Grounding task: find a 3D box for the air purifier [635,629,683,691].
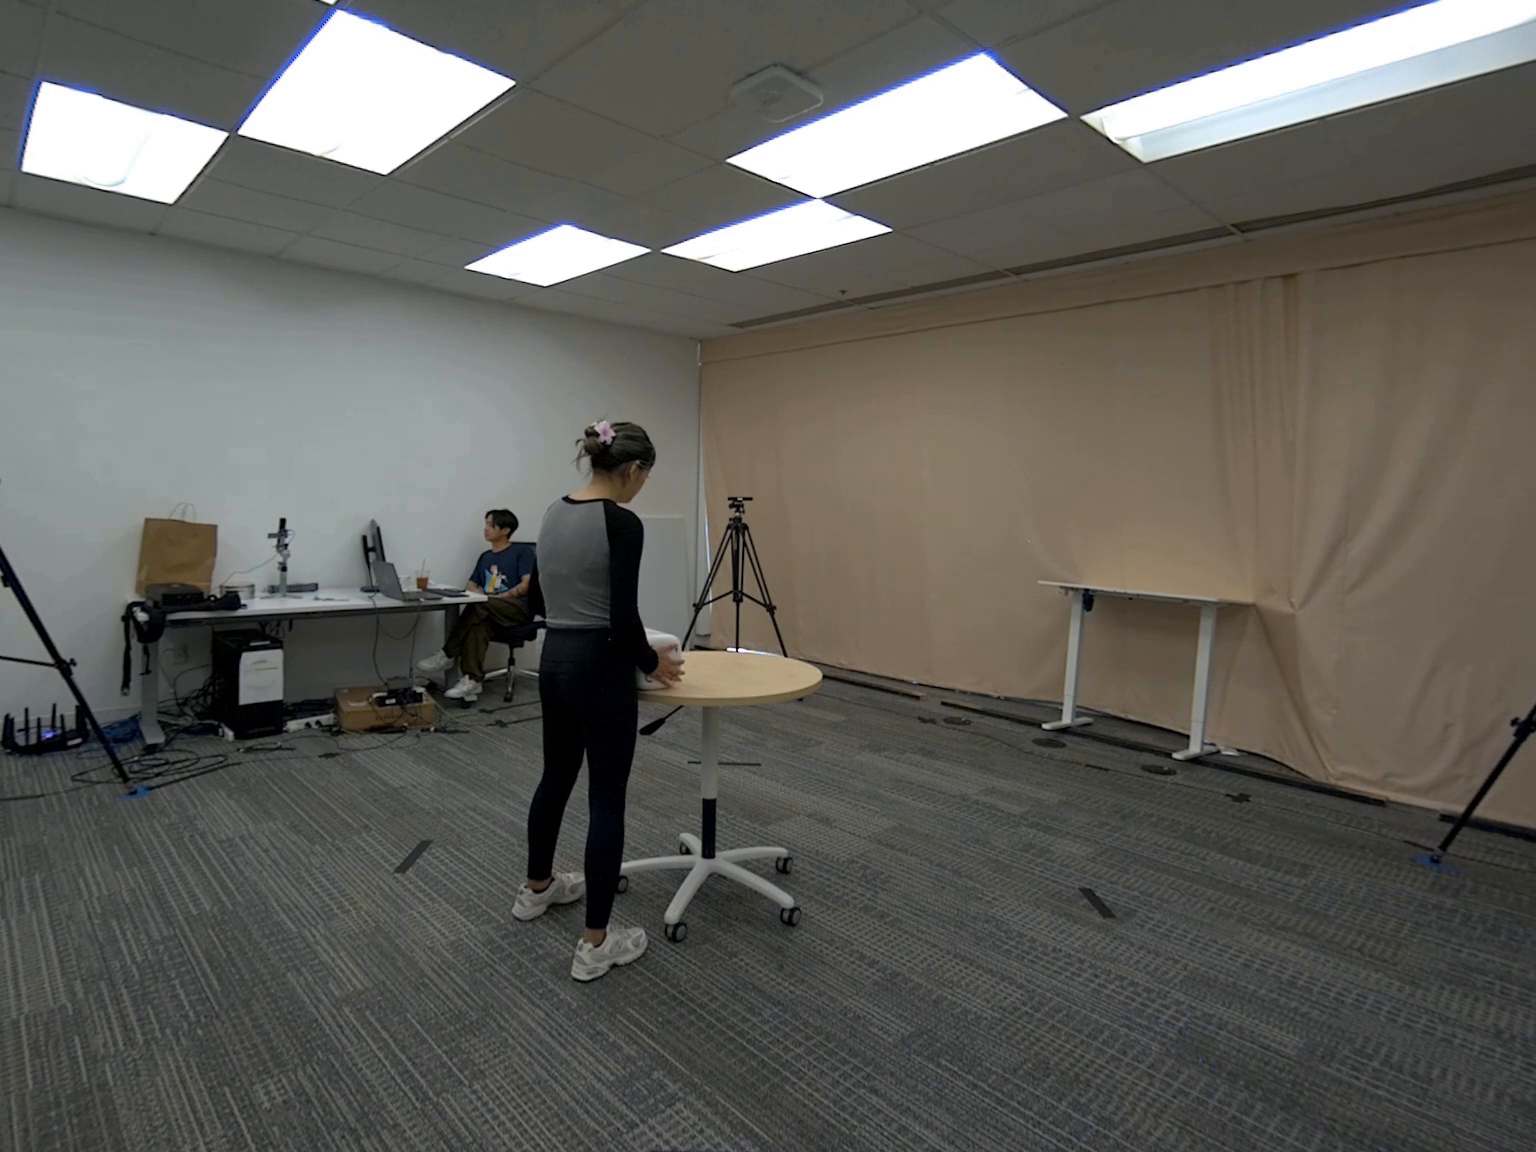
[{"bbox_3d":[-0.412,0.262,2.713,0.167,0.171,0.272,-1,5,-35],"label":"air purifier"}]
